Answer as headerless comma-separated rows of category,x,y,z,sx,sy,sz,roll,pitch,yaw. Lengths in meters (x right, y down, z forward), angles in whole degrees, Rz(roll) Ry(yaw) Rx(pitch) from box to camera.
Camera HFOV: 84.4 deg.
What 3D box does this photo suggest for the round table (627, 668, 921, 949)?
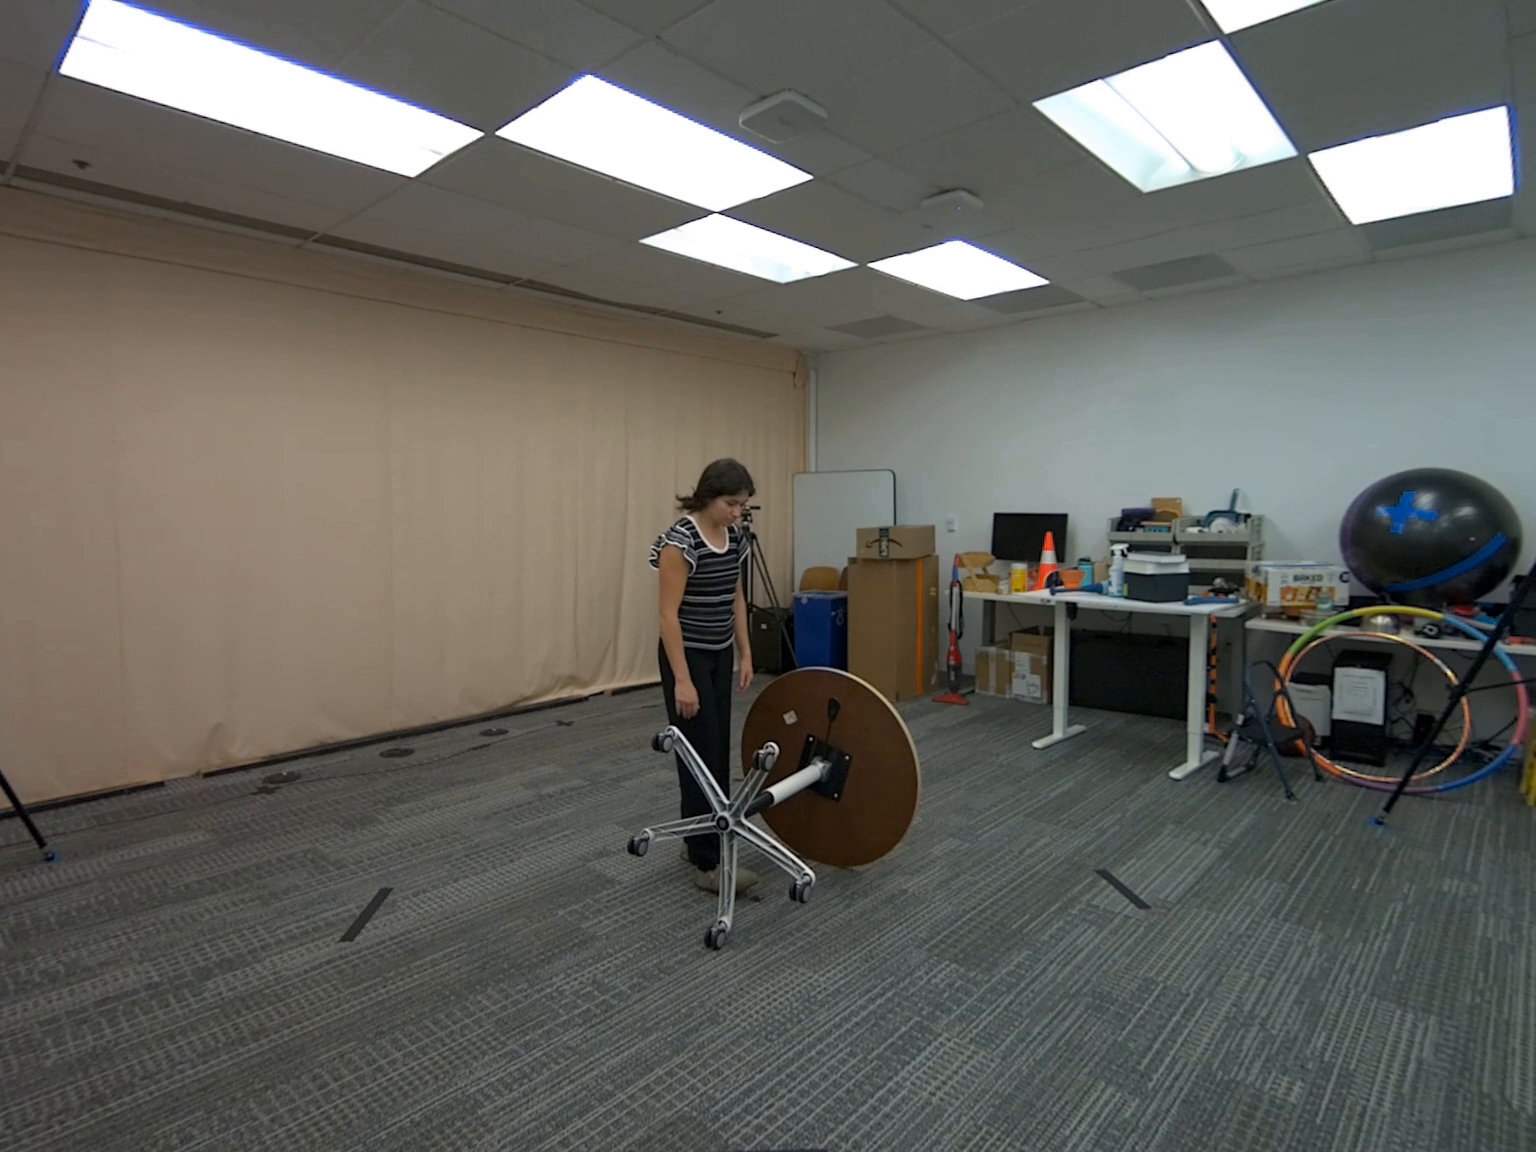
round table,0.025,0.774,2.946,0.788,0.761,0.772,3,6,34
